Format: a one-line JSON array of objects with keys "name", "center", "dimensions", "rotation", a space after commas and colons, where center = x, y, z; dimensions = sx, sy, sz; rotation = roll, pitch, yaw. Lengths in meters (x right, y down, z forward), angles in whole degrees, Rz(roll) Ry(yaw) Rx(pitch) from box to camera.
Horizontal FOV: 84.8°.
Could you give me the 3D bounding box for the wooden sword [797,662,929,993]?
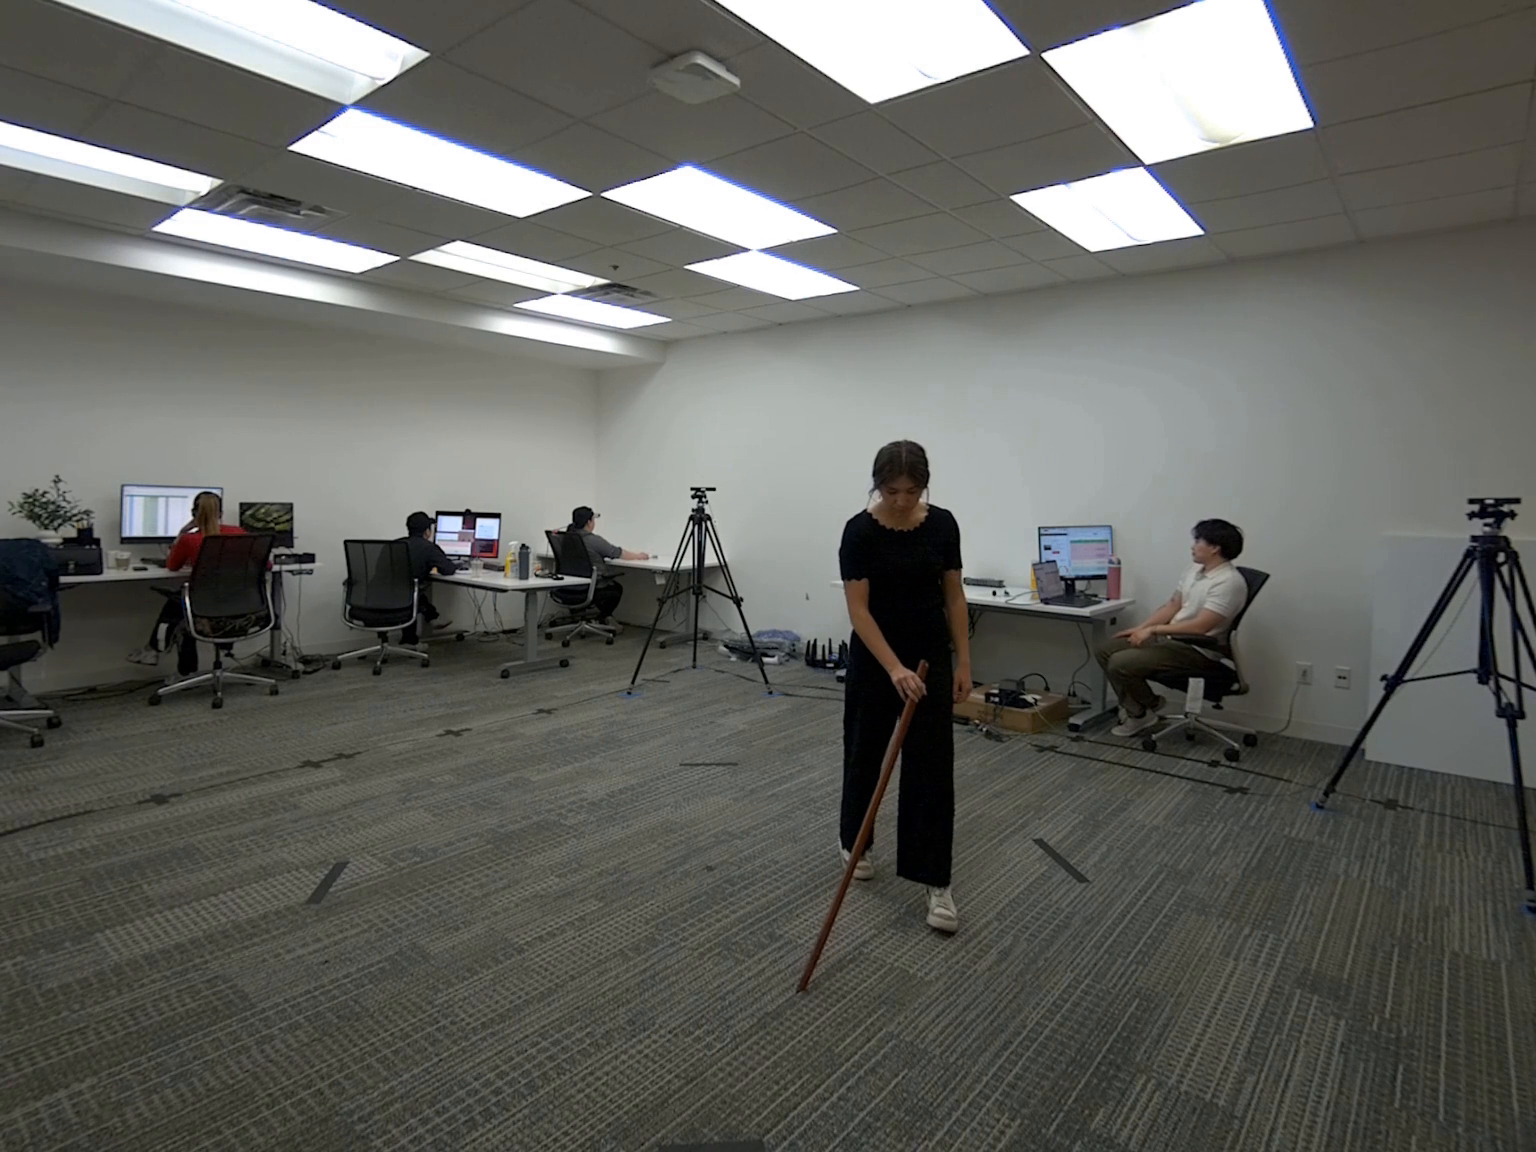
[{"name": "wooden sword", "center": [0.295, 0.725, 2.537], "dimensions": [0.025, 1.032, 0.049], "rotation": [4, -29, 45]}]
